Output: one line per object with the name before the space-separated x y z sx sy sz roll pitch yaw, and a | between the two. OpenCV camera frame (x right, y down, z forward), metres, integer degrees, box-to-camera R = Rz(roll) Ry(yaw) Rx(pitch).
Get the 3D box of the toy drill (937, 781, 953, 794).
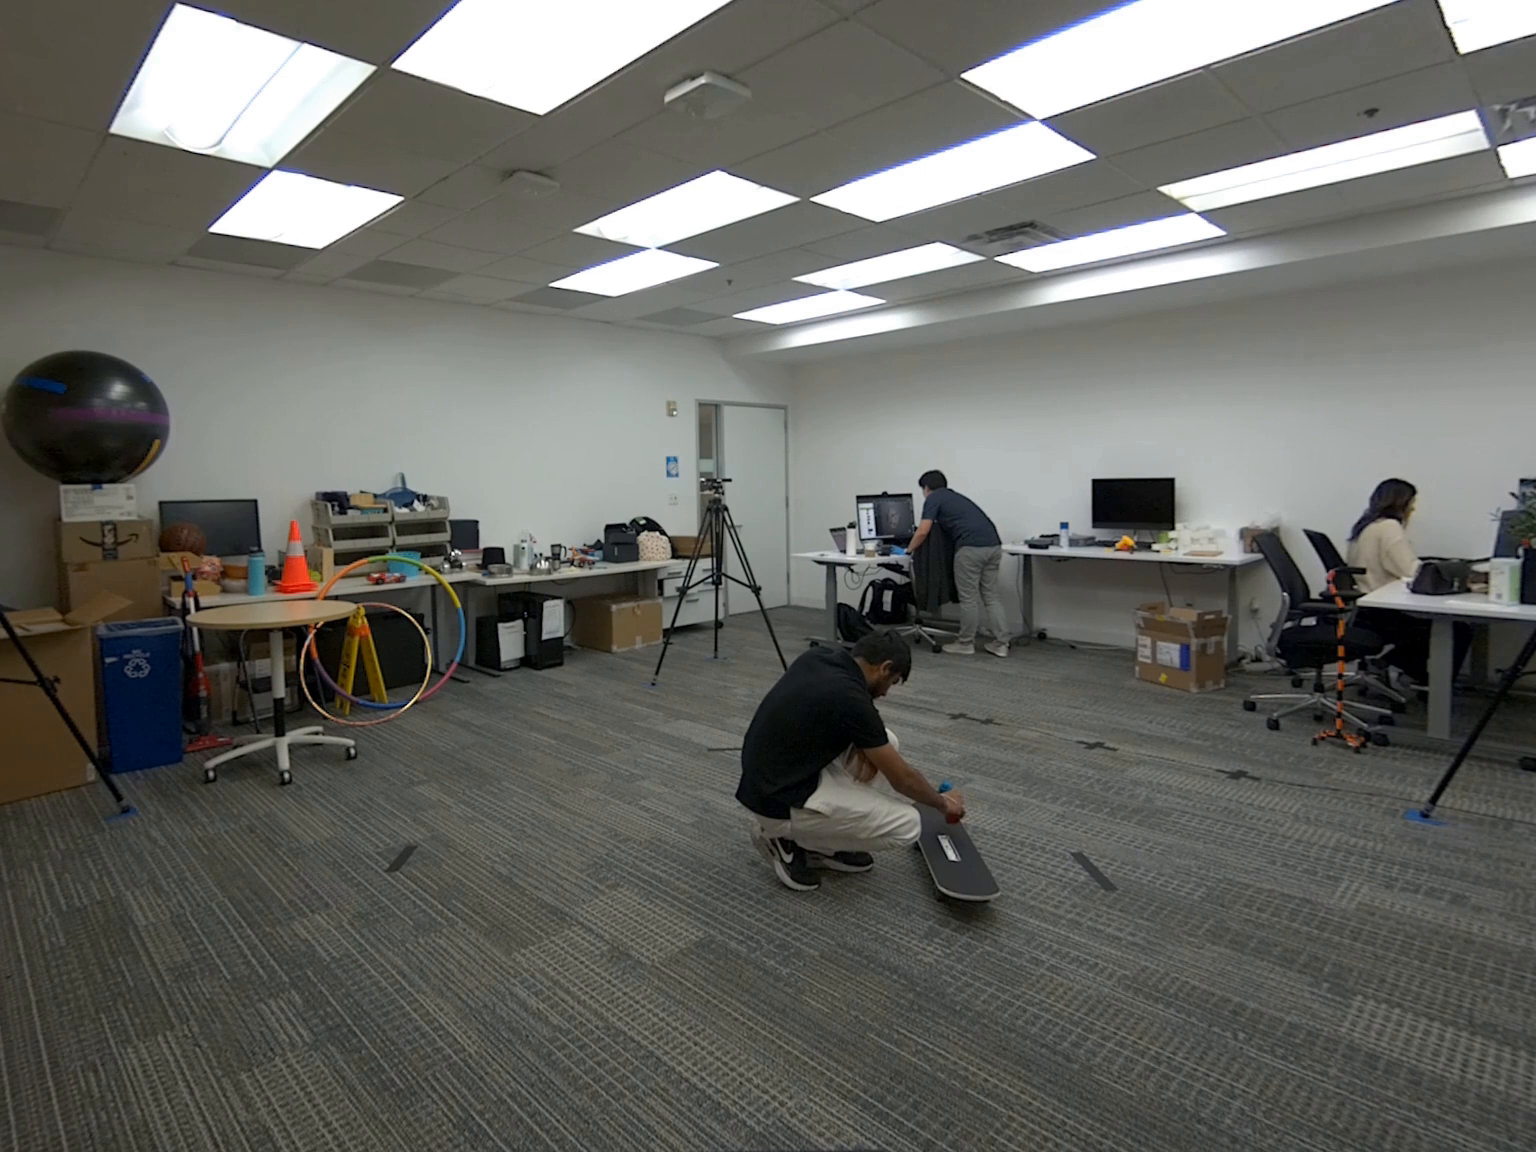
toy drill | 0.667 0.842 3.147 0.061 0.164 0.150 -9 43 4
